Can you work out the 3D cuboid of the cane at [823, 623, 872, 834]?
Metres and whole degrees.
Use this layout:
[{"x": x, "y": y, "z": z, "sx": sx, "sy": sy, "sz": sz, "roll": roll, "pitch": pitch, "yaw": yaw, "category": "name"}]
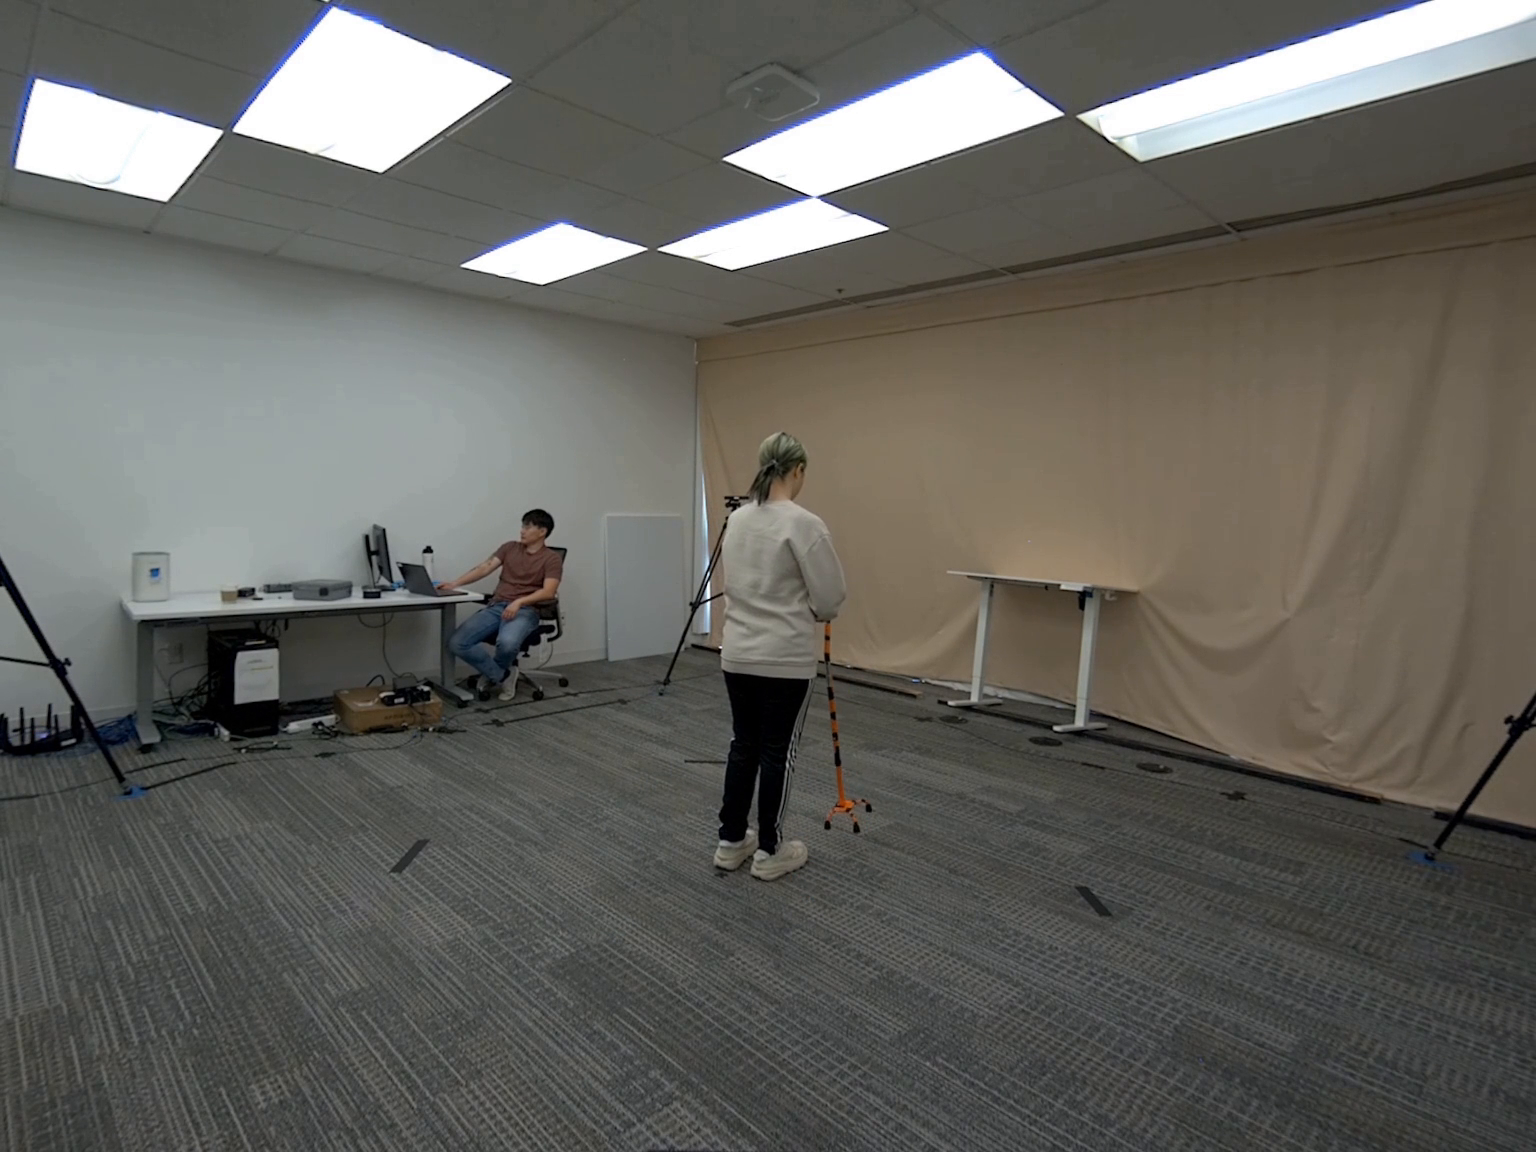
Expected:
[{"x": 0.271, "y": 0.564, "z": 3.392, "sx": 0.154, "sy": 0.902, "sz": 0.204, "roll": -3, "pitch": 8, "yaw": 25, "category": "cane"}]
